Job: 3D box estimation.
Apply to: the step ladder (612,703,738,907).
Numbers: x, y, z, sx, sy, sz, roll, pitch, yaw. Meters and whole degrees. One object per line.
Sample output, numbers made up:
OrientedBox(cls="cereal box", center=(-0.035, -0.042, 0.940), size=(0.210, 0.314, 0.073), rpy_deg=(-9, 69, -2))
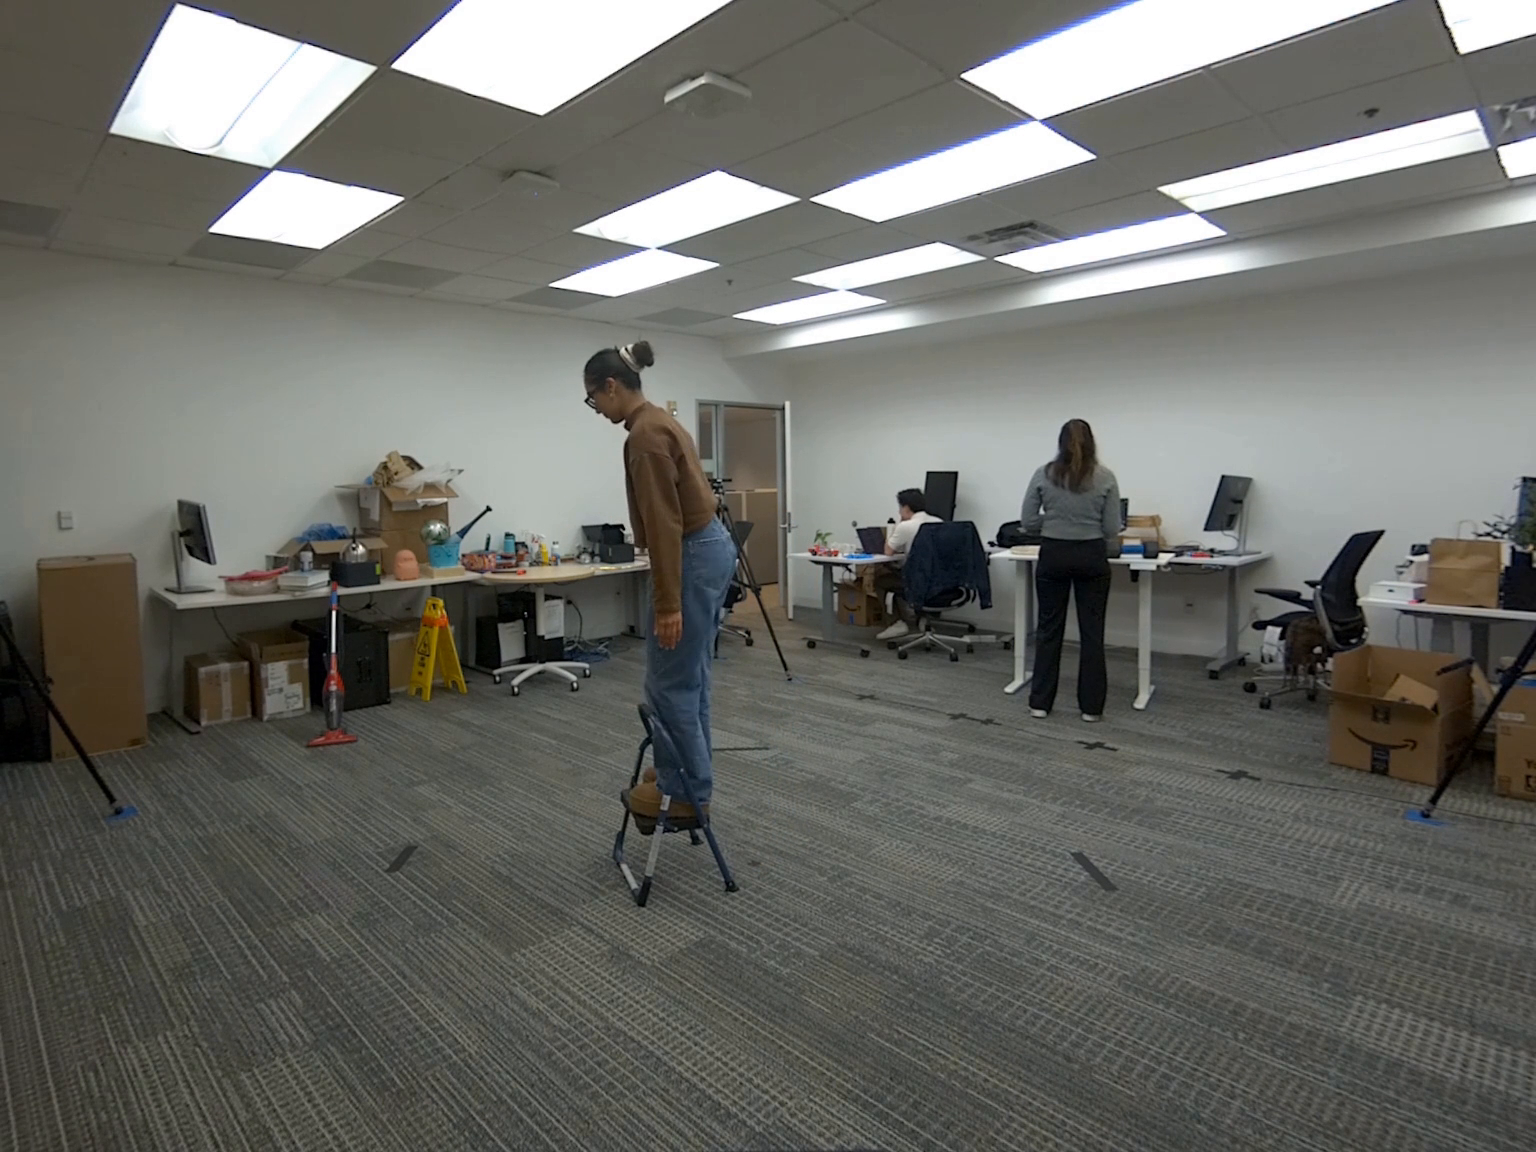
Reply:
OrientedBox(cls="step ladder", center=(-0.345, 0.759, 3.029), size=(0.343, 0.604, 0.440), rpy_deg=(-3, 5, -22))
